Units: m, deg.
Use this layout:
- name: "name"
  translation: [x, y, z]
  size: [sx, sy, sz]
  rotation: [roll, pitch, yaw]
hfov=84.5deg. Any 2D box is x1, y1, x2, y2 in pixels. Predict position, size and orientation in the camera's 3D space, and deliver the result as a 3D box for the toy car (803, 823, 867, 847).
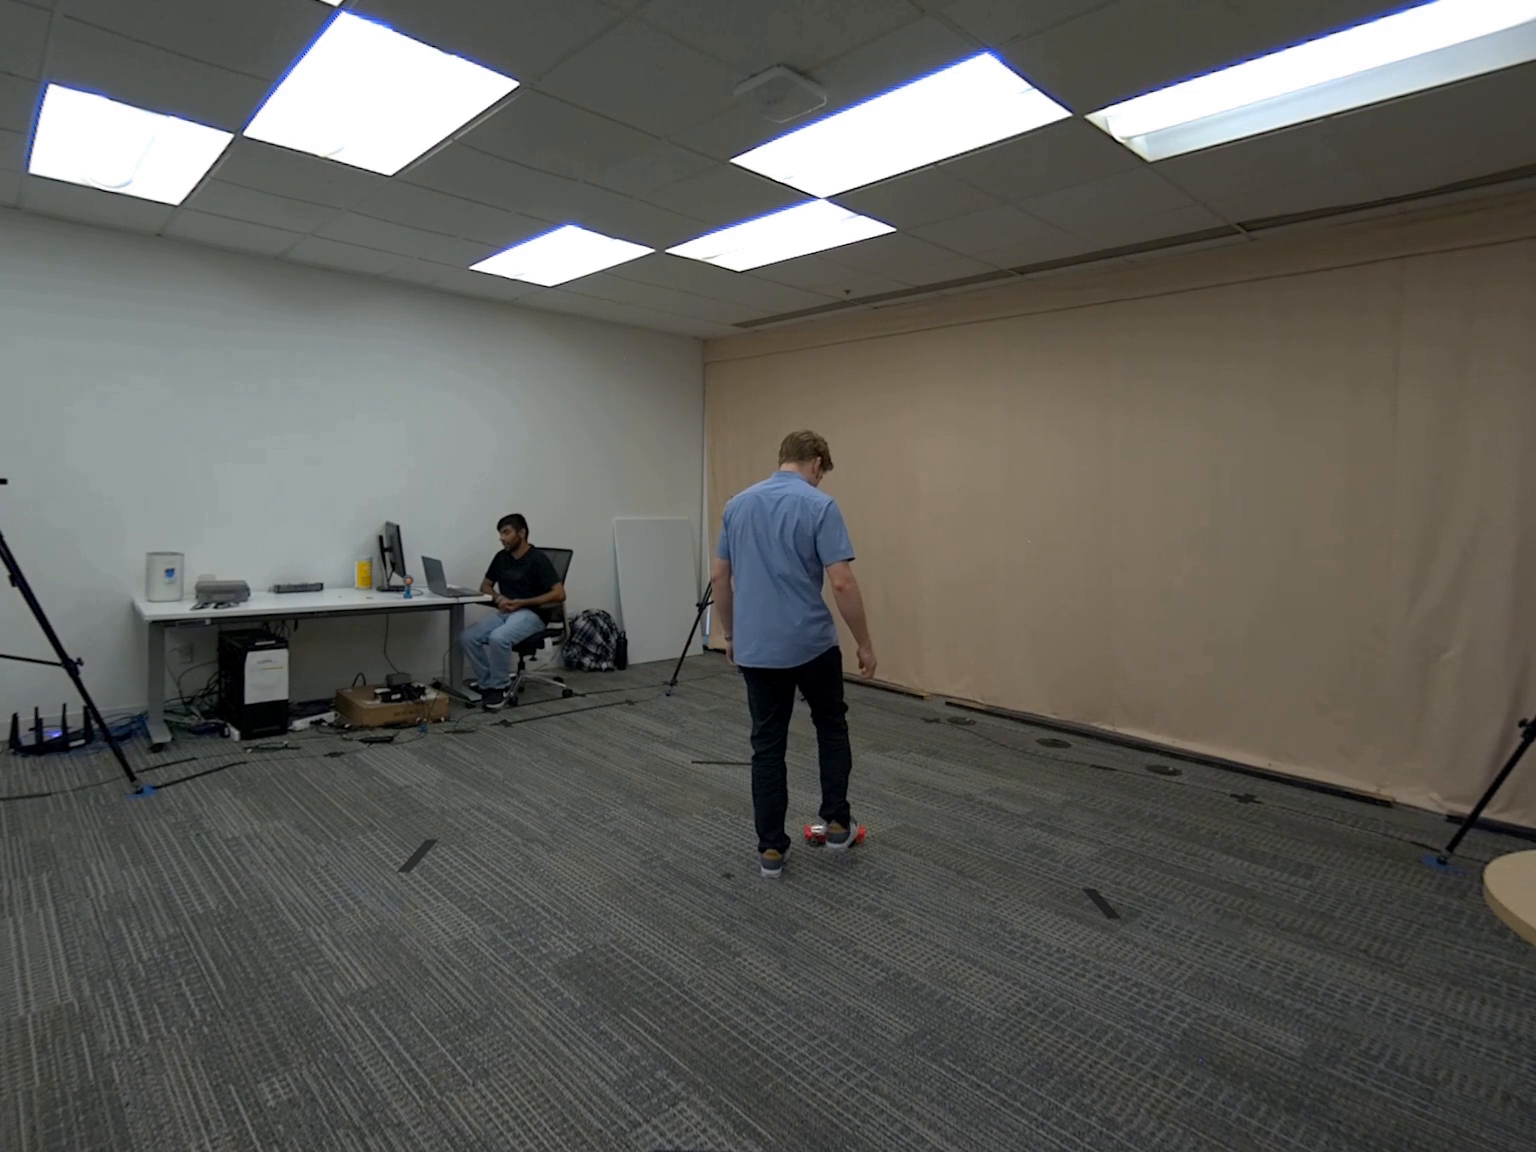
- name: "toy car"
  translation: [0.272, 1.054, 3.442]
  size: [0.255, 0.083, 0.130]
  rotation: [-10, 5, 2]
